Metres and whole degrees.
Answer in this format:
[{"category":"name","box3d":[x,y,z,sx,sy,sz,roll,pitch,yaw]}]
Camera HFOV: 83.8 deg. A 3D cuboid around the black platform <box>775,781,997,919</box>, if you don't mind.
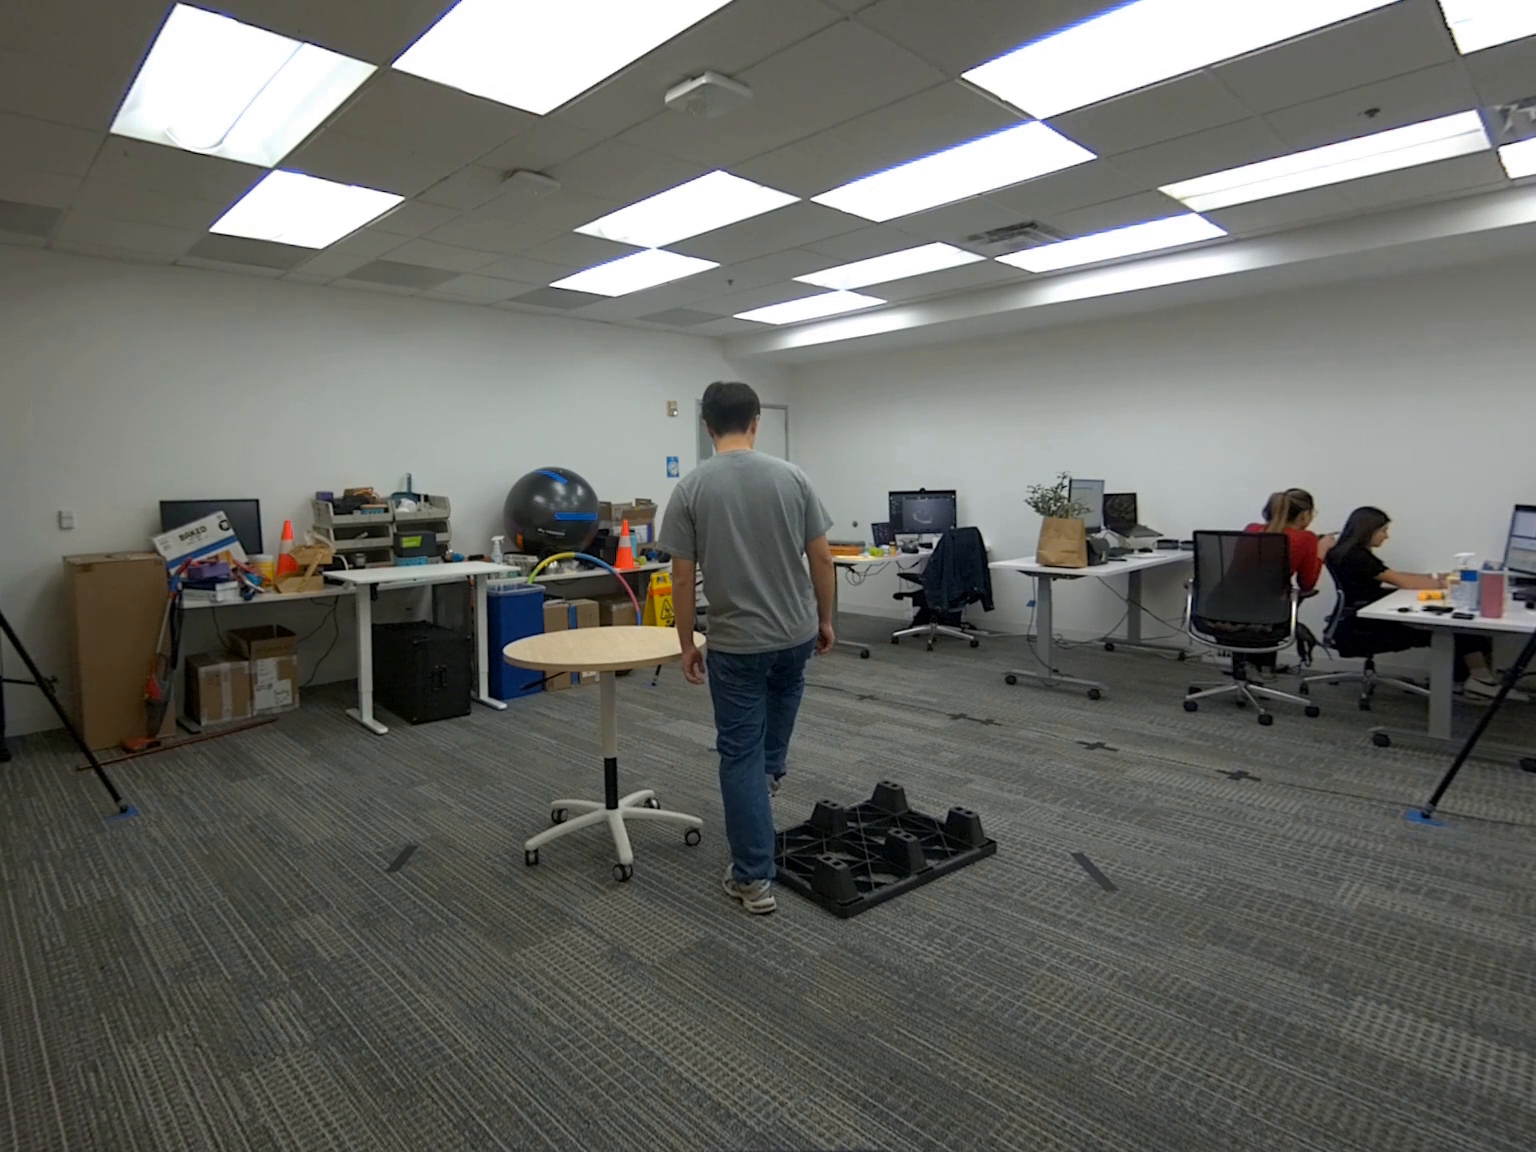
[{"category":"black platform","box3d":[0.360,0.964,3.171,0.785,0.142,0.624,-6,8,-38]}]
